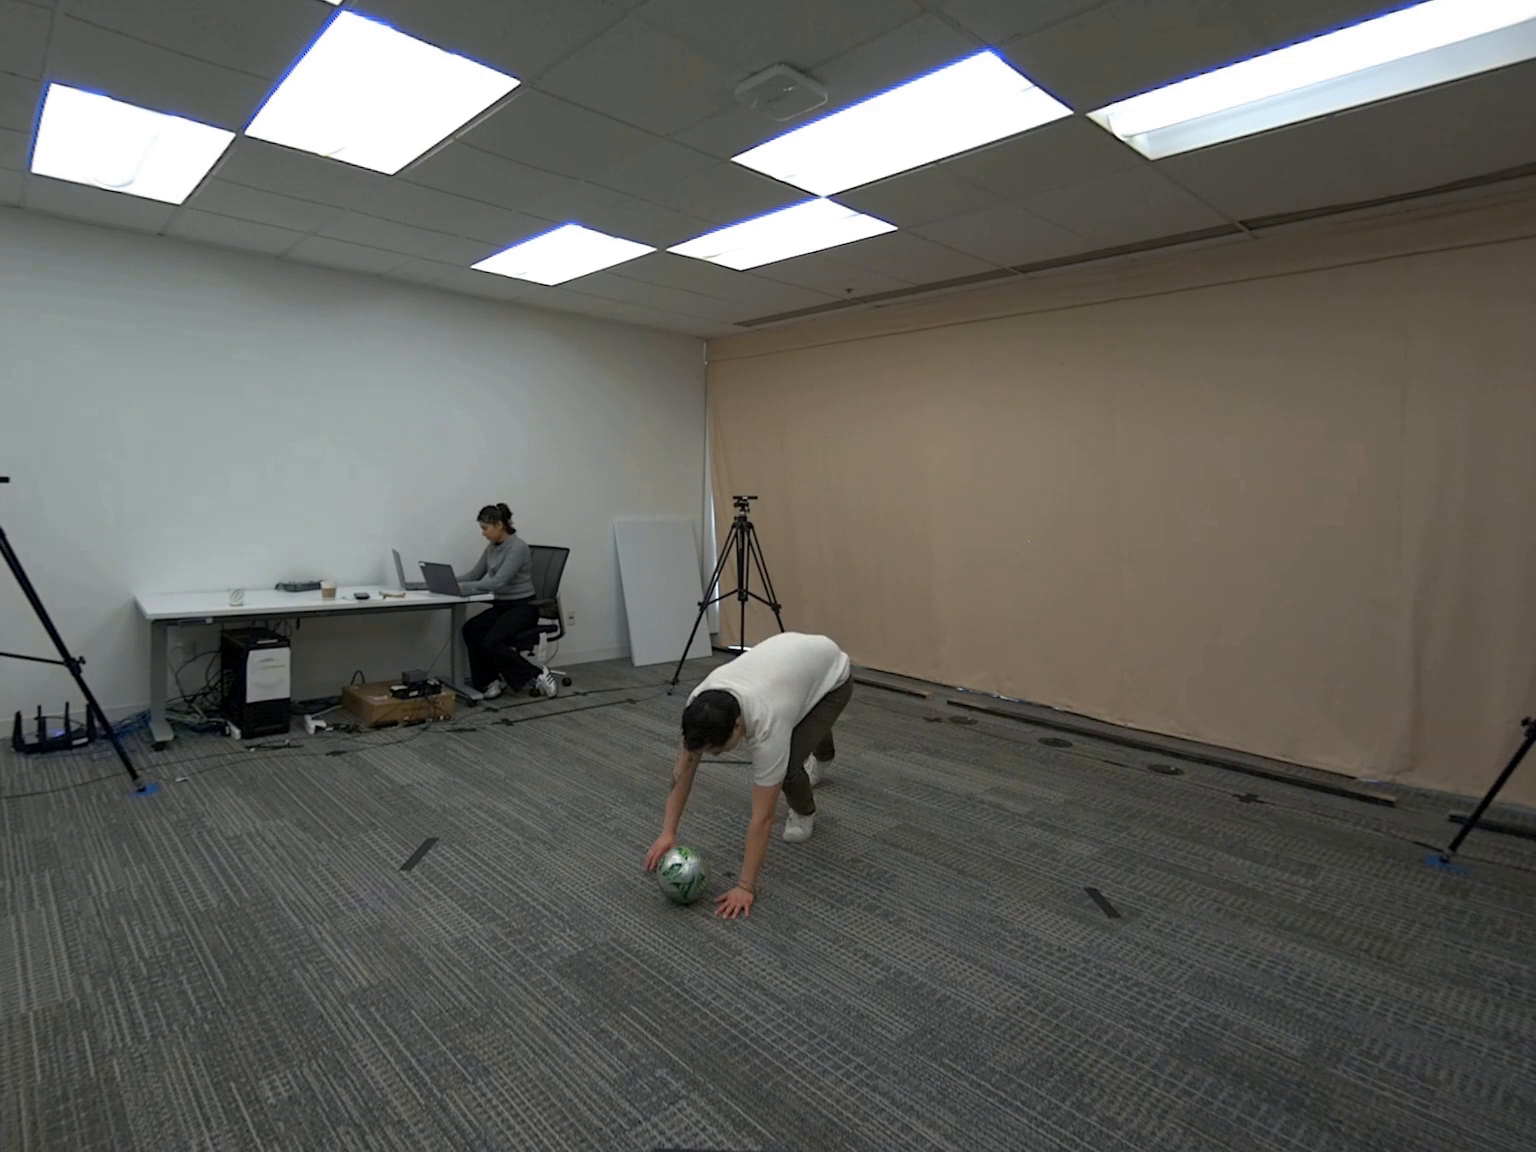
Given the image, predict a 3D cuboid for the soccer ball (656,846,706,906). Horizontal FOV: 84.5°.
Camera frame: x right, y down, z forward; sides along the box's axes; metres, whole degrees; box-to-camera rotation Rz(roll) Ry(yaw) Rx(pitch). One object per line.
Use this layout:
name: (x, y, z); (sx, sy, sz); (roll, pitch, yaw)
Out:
soccer ball: (-0.295, 1.020, 2.883); (0.187, 0.187, 0.188); (1, 4, -1)
